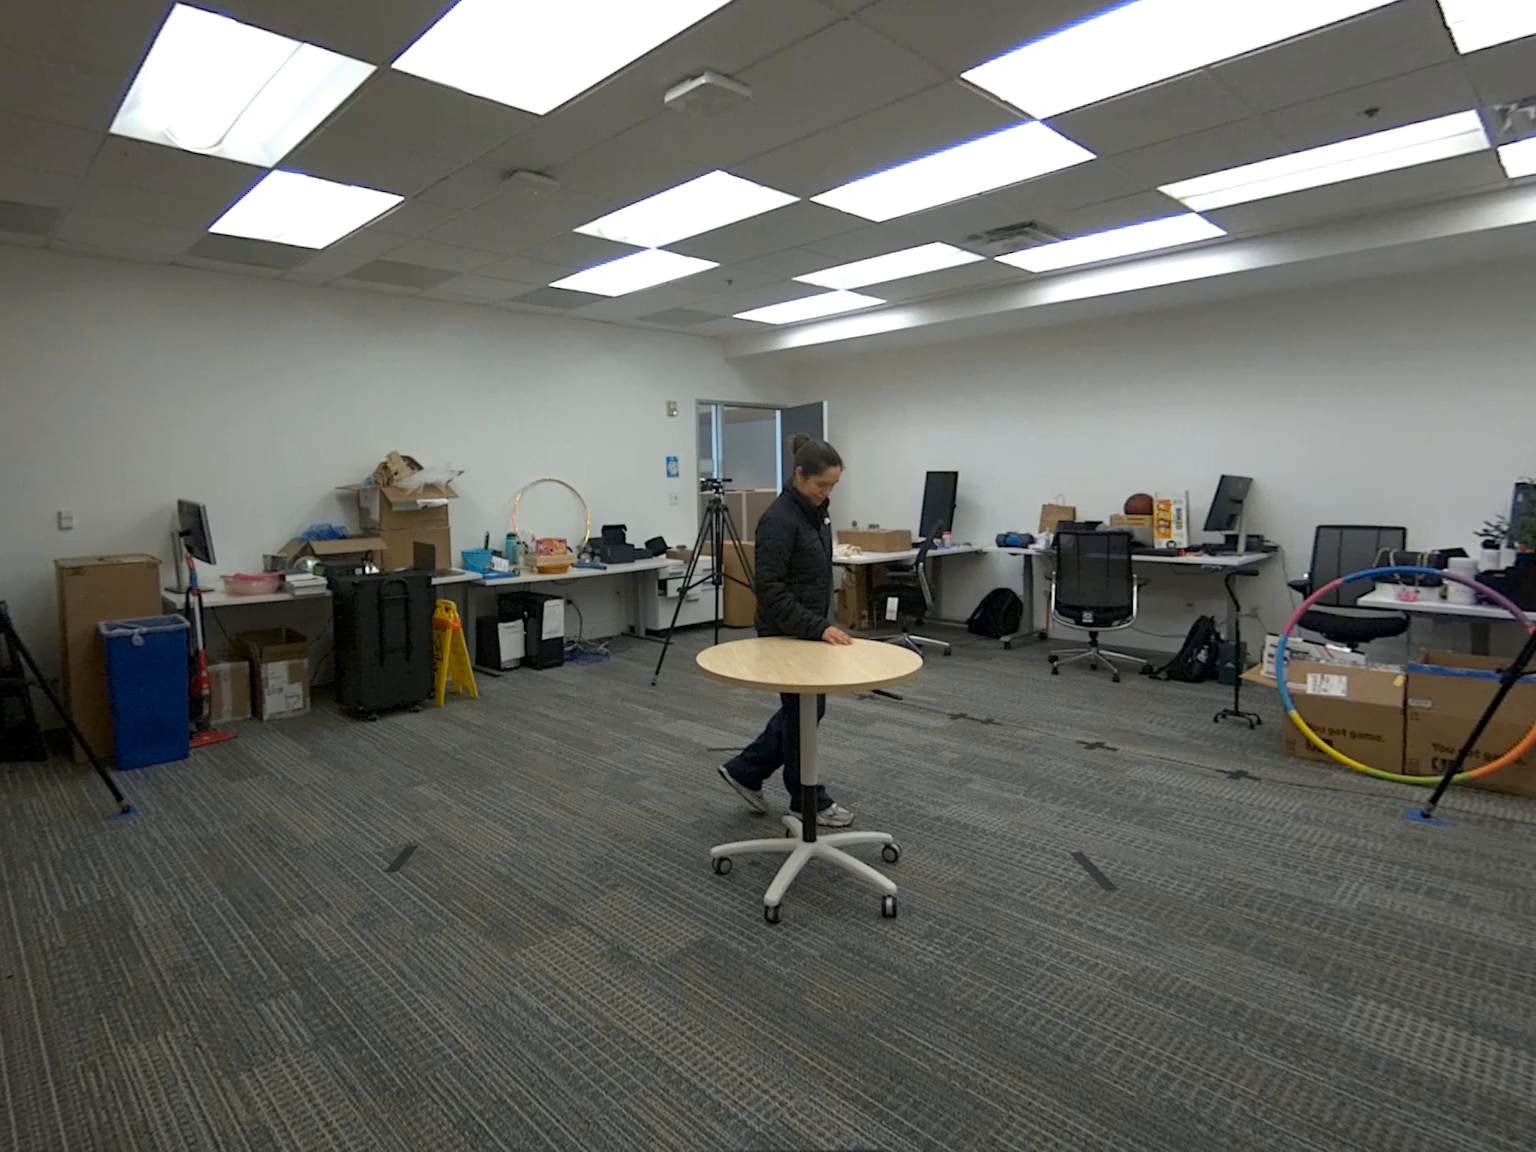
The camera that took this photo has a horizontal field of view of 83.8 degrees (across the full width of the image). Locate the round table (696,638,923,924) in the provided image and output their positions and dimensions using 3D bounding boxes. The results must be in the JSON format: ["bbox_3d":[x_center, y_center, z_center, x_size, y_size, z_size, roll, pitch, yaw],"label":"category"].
[{"bbox_3d":[0.132,0.668,2.952,0.784,0.783,0.789,-1,5,-2],"label":"round table"}]
